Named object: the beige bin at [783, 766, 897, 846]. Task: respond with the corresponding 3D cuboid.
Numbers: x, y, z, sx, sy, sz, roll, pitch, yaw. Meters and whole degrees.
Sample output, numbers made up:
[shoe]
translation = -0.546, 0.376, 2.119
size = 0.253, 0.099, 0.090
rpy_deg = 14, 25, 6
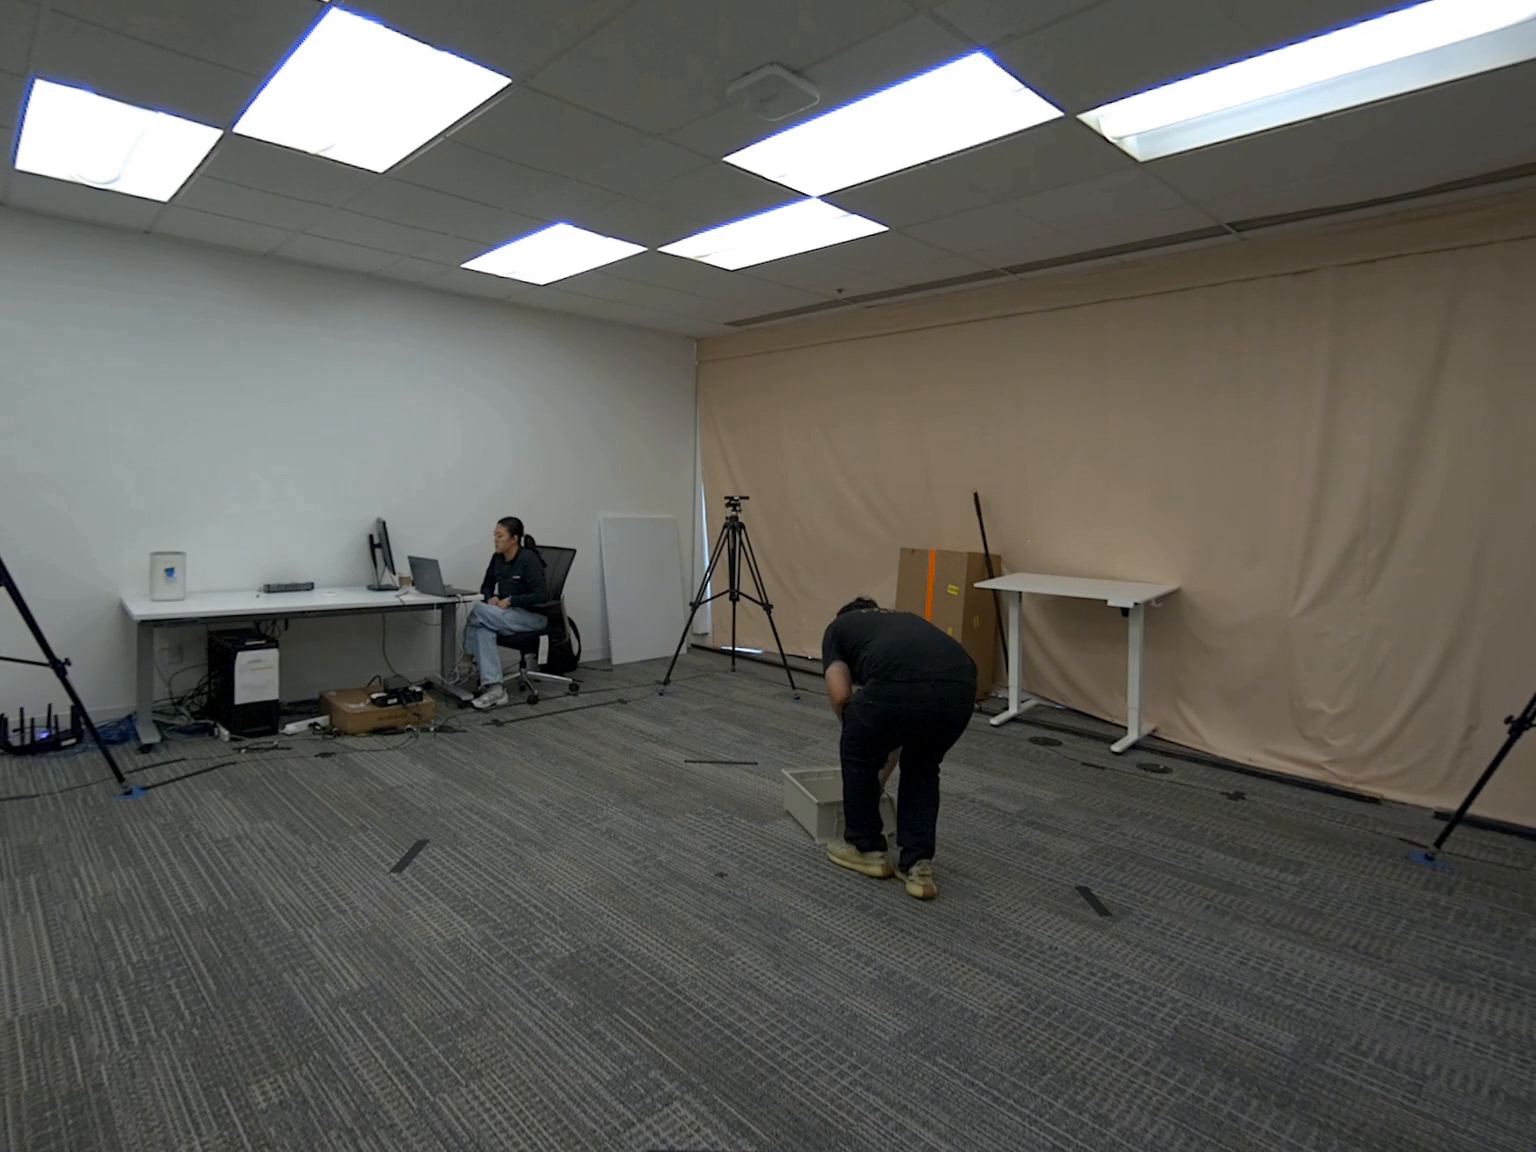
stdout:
[beige bin]
translation = 0.293, 0.974, 3.645
size = 0.372, 0.188, 0.429
rpy_deg = -2, 6, -18
